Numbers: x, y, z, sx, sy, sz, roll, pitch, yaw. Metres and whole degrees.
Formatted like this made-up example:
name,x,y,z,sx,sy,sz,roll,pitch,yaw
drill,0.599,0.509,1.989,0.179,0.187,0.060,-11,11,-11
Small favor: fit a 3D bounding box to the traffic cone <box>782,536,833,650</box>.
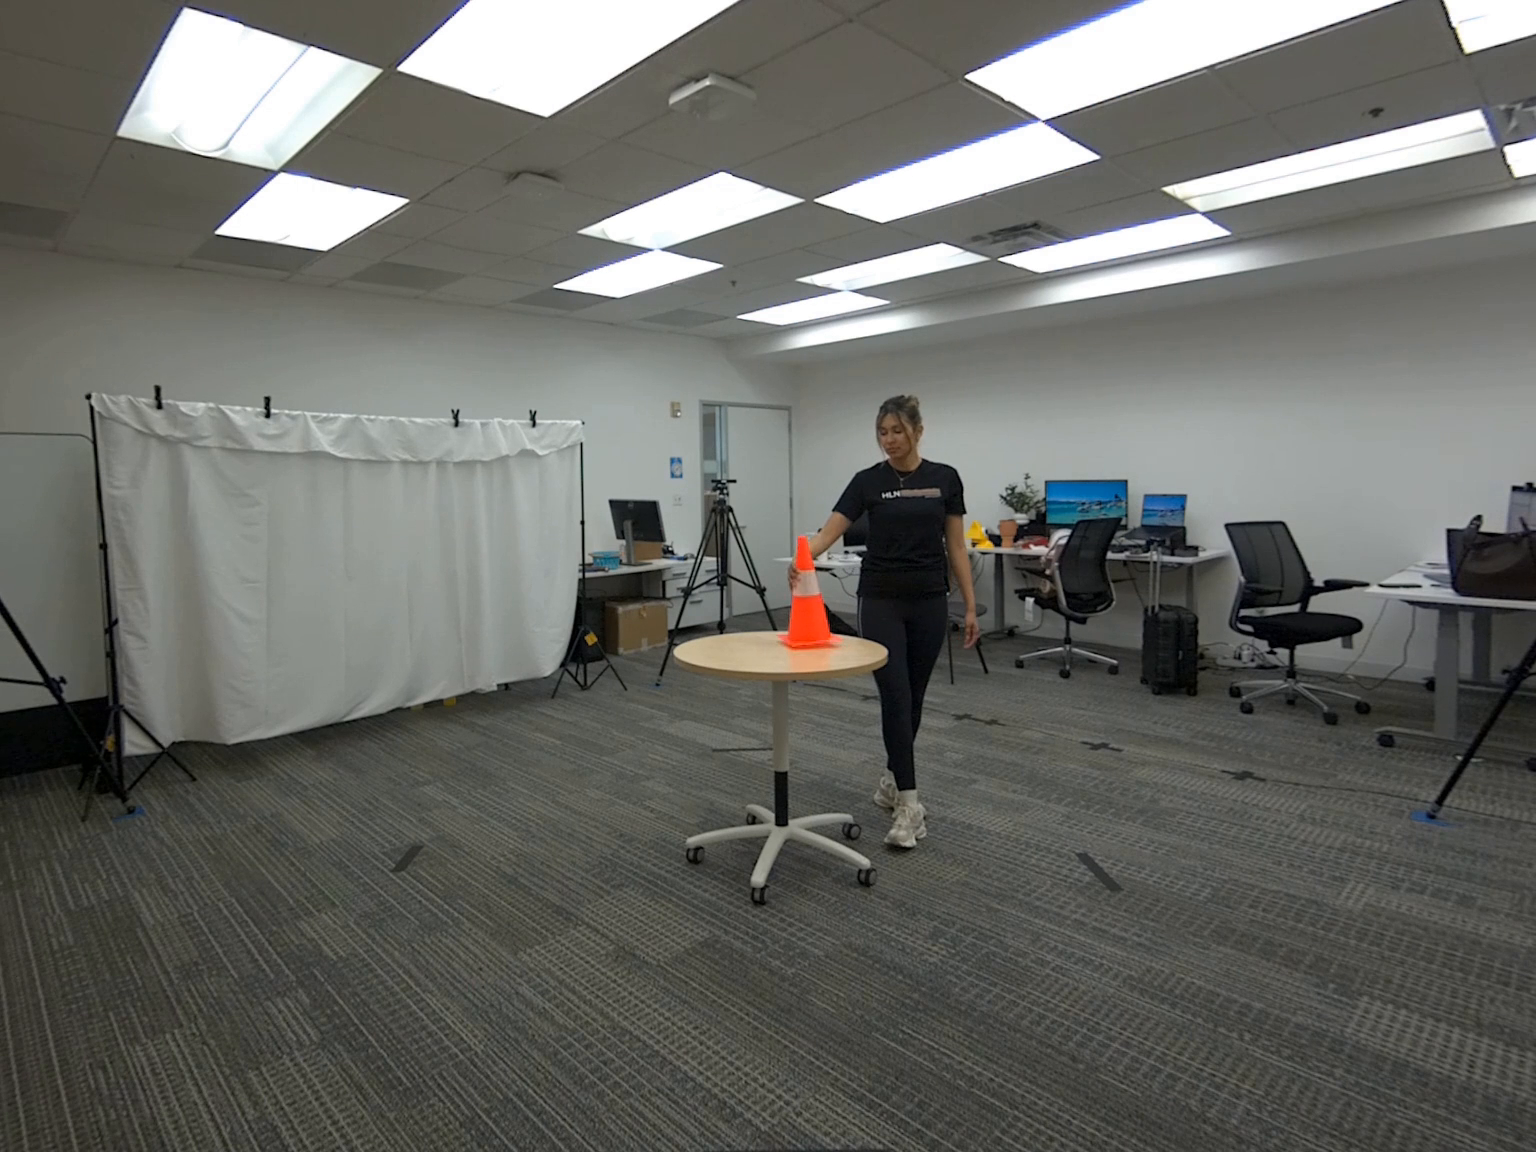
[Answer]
name,x,y,z,sx,sy,sz,roll,pitch,yaw
traffic cone,0.139,0.031,3.150,0.198,0.383,0.211,-6,4,-42
